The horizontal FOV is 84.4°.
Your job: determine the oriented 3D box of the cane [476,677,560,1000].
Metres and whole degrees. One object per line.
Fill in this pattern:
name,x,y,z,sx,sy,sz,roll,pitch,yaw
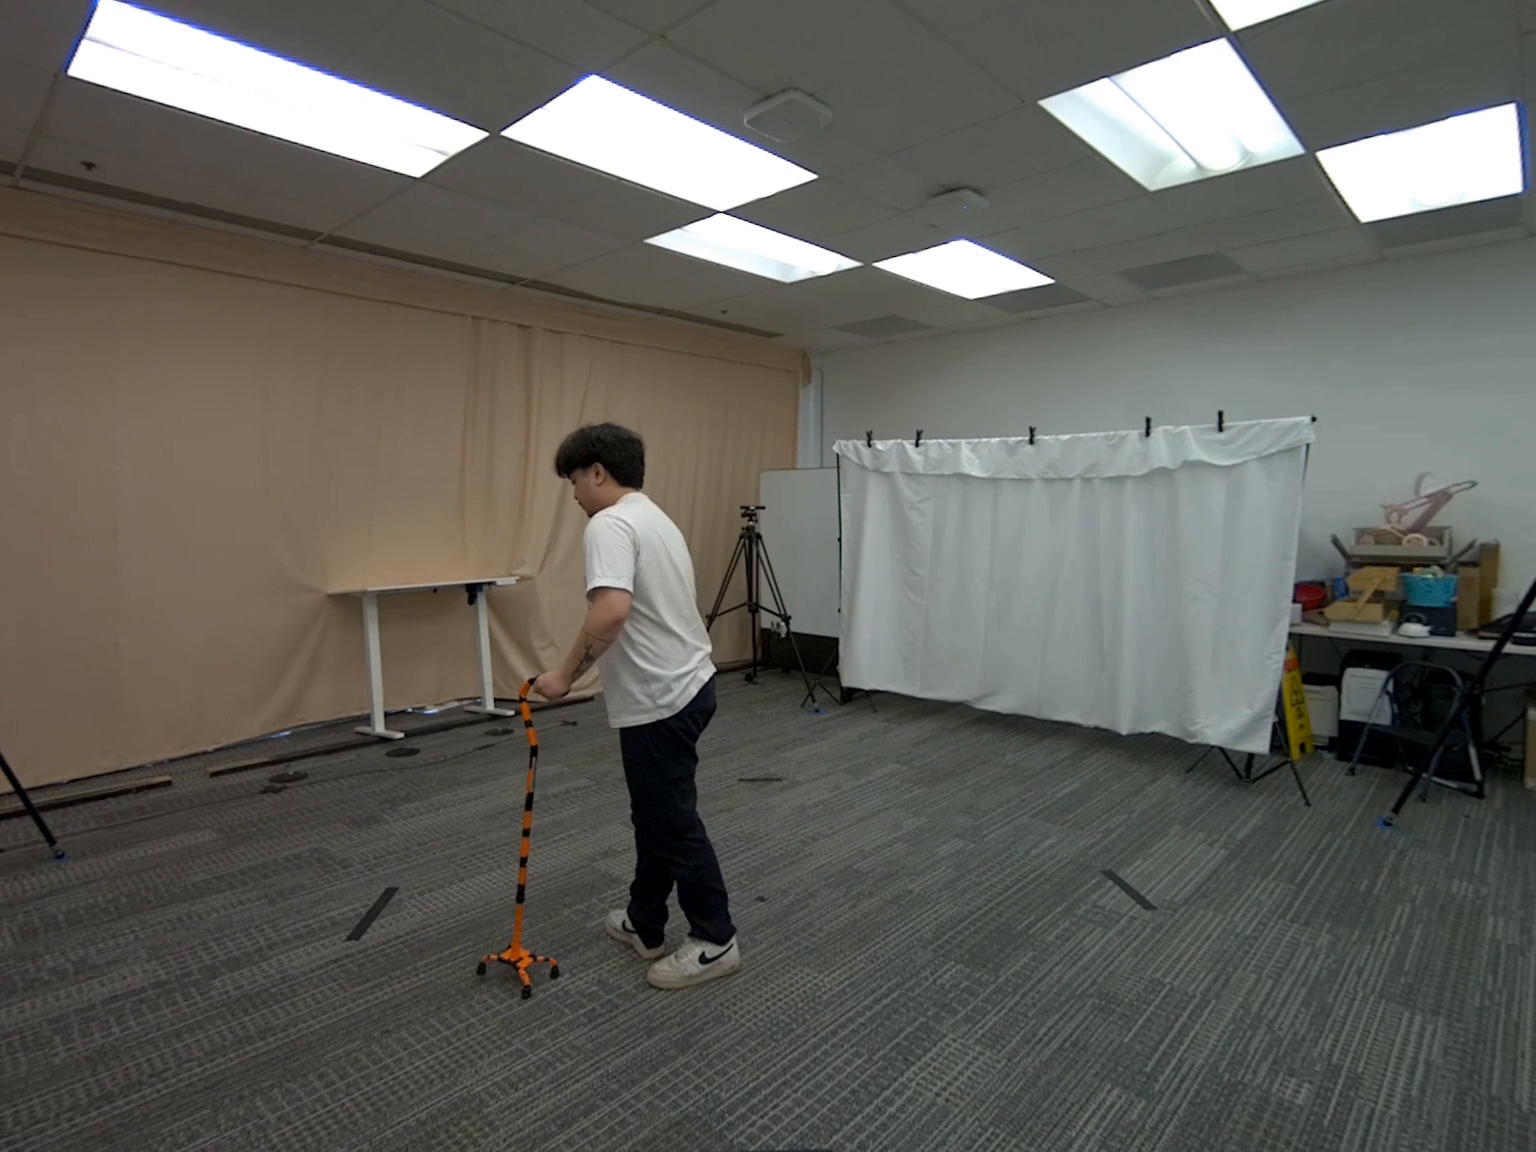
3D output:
cane,-0.699,0.740,2.453,0.212,0.905,0.148,8,5,27
